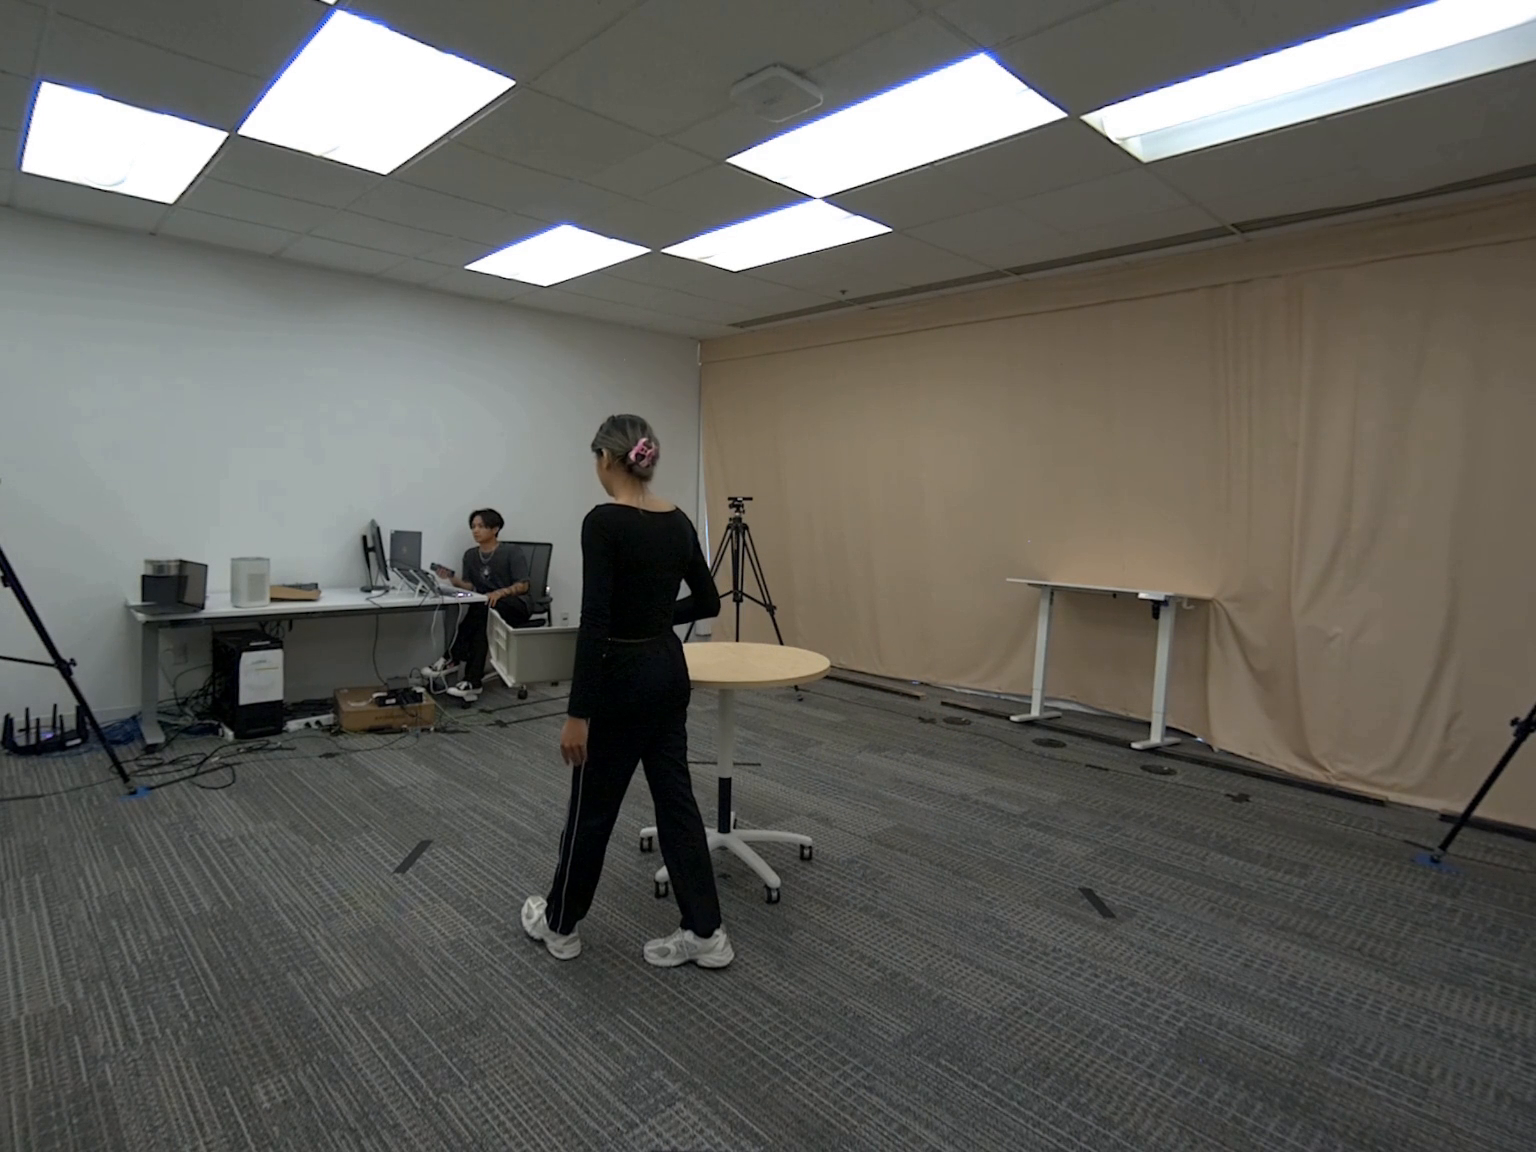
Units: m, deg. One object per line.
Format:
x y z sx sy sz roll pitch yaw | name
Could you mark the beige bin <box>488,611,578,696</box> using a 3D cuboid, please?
-0.676 0.213 2.741 0.414 0.188 0.387 -1 10 -28 | beige bin
